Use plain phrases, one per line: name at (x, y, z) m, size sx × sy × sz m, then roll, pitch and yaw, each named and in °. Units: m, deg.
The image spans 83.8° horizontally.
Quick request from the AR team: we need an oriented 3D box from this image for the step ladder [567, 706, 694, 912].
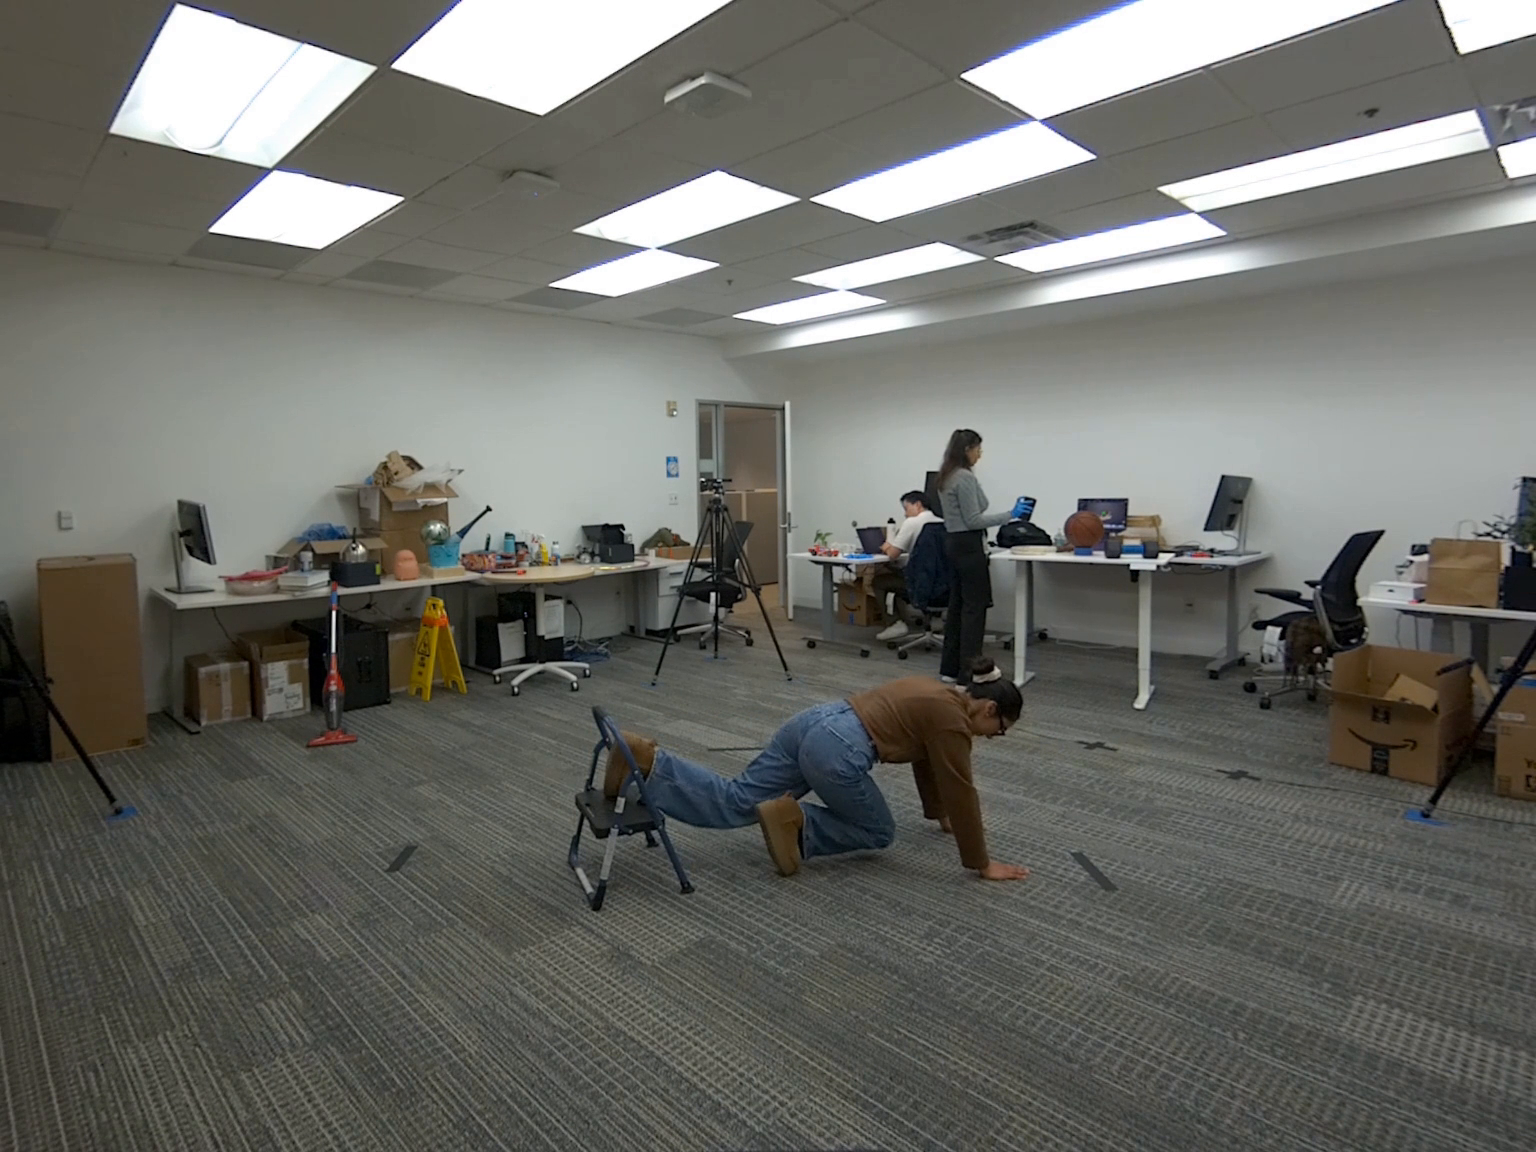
step ladder at (-0.502, 0.764, 3.009) m, size 0.342 × 0.604 × 0.441 m, roll -3°, pitch 5°, yaw -25°
